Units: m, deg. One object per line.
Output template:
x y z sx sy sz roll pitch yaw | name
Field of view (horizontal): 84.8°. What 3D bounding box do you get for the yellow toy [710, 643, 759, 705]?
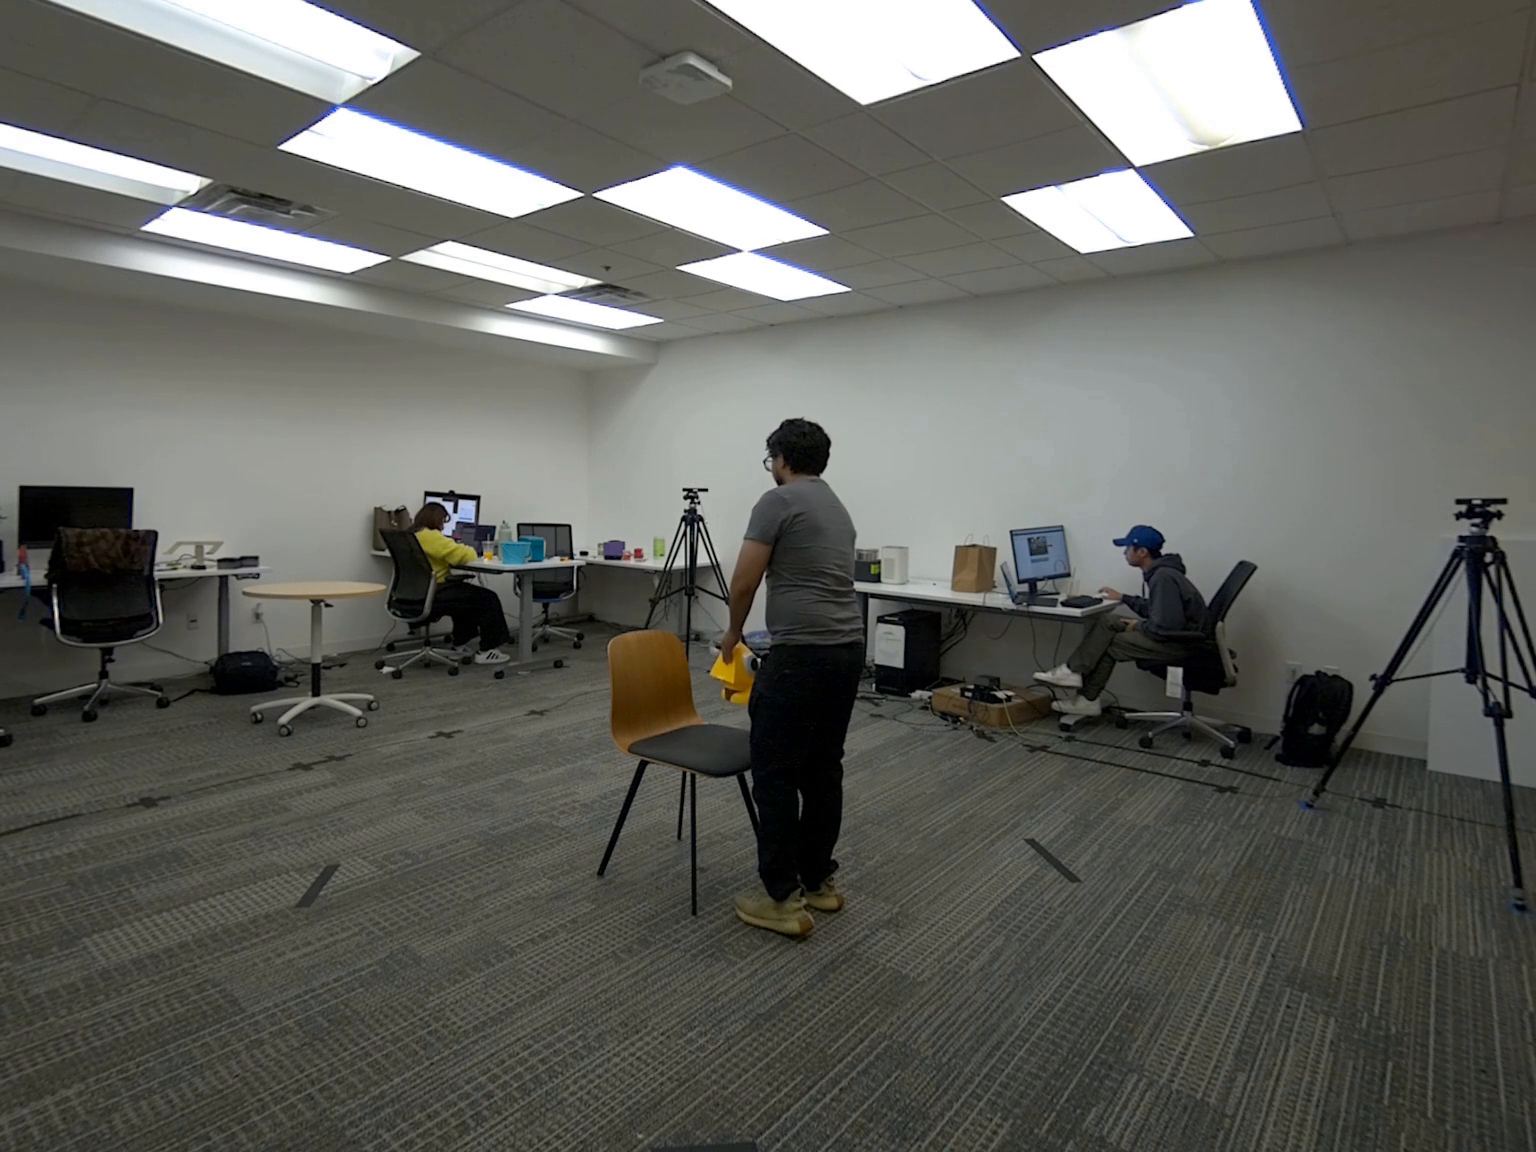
-0.099 0.326 3.073 0.188 0.230 0.210 -3 2 -27 | yellow toy
